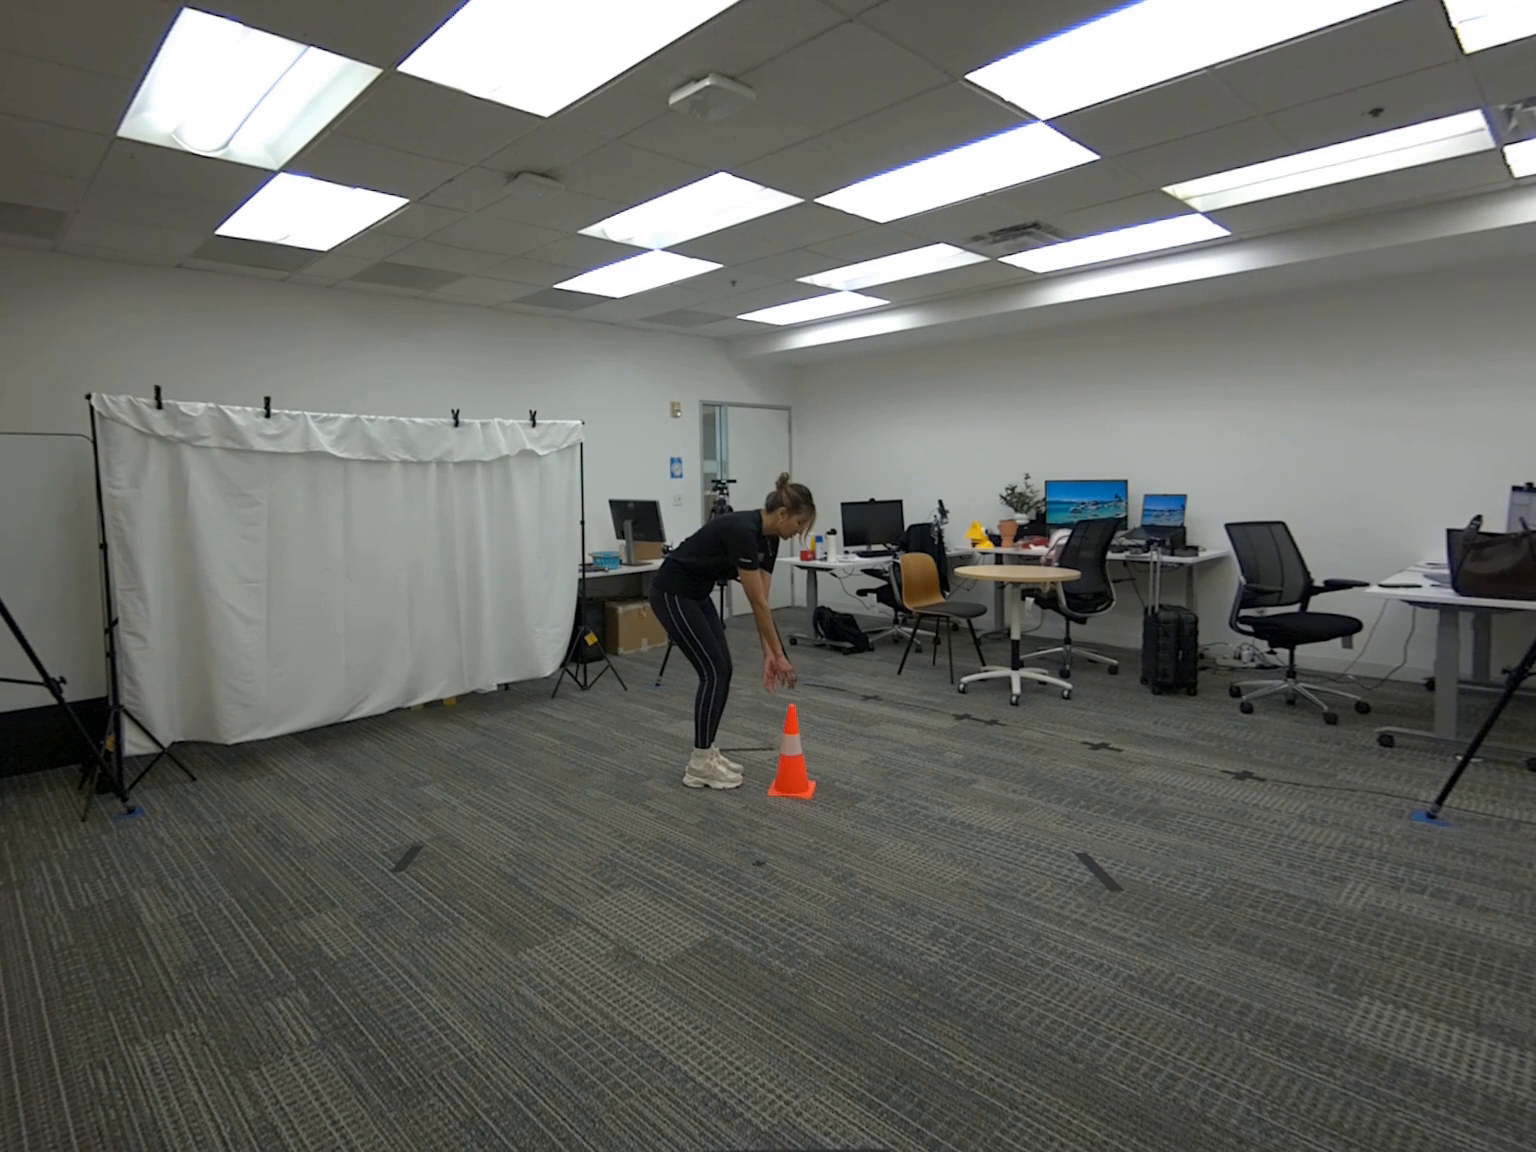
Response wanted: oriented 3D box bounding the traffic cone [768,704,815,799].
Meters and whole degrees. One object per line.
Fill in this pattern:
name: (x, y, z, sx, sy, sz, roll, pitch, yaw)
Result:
traffic cone: (0.108, 0.777, 3.851, 0.207, 0.383, 0.202, 0, 3, 16)
